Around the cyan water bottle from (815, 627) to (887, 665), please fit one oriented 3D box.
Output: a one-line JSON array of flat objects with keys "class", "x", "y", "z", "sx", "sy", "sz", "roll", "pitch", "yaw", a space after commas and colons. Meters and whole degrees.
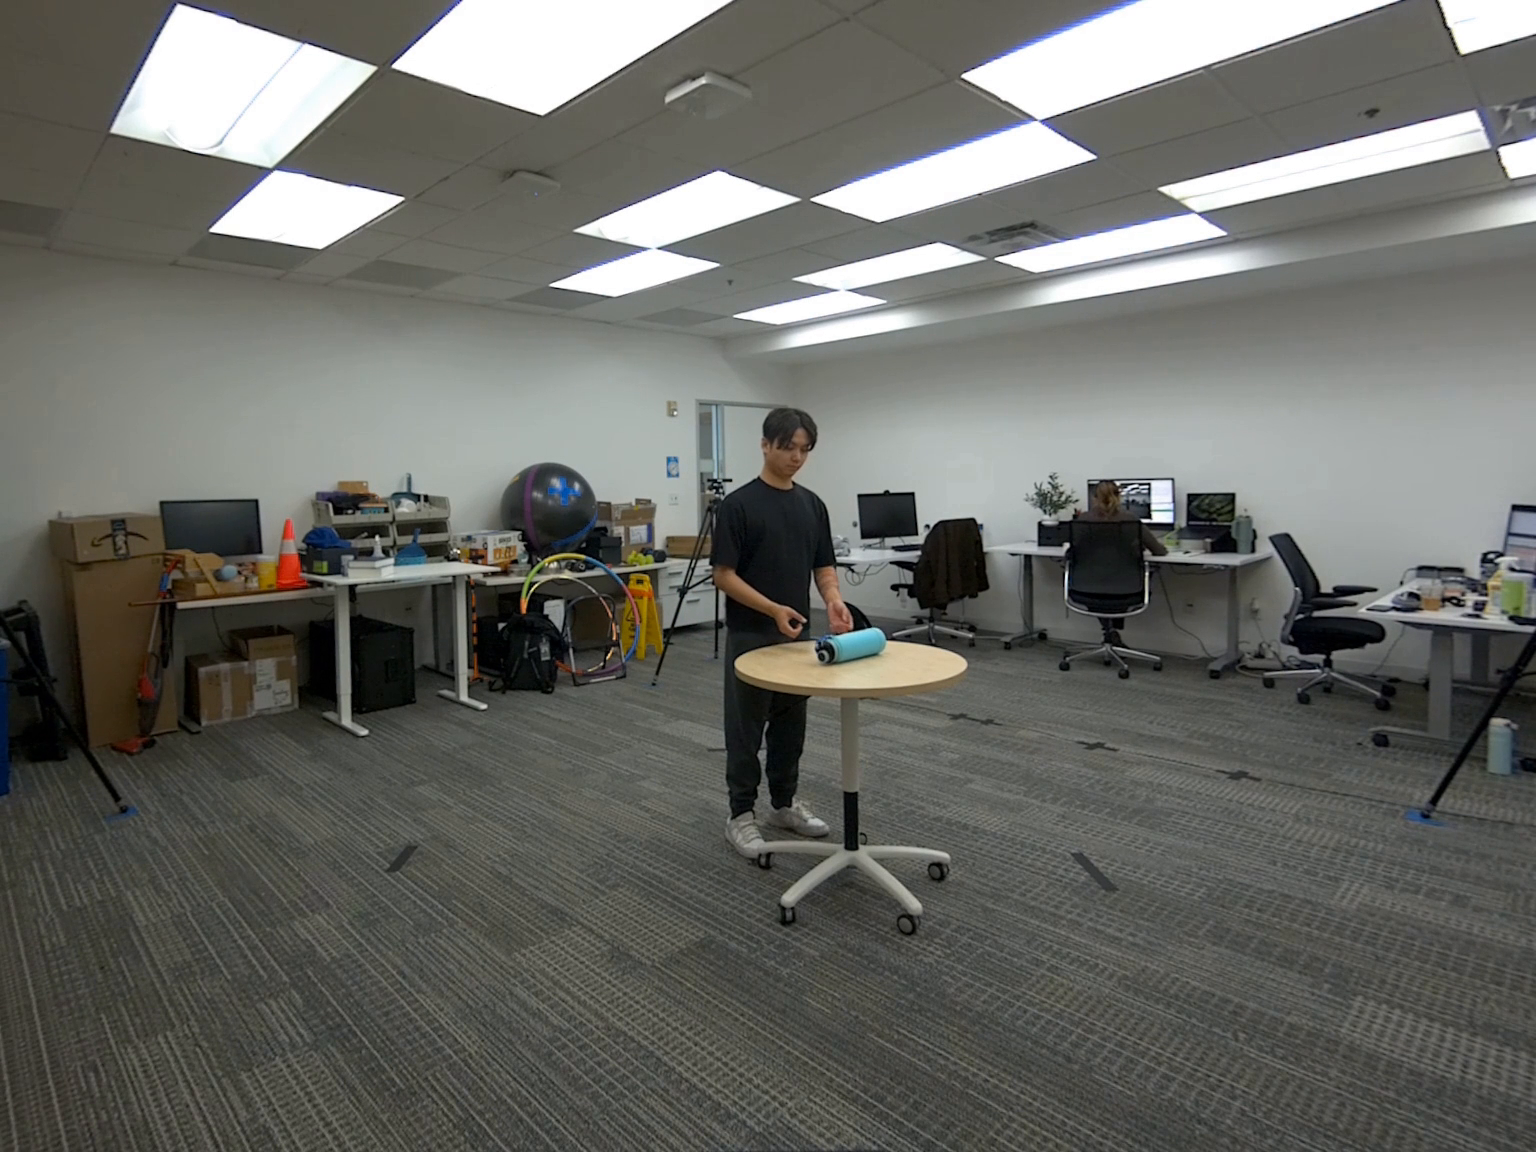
[{"class": "cyan water bottle", "x": 0.272, "y": 0.236, "z": 2.887, "sx": 0.276, "sy": 0.092, "sz": 0.095, "roll": -8, "pitch": 8, "yaw": -41}]
